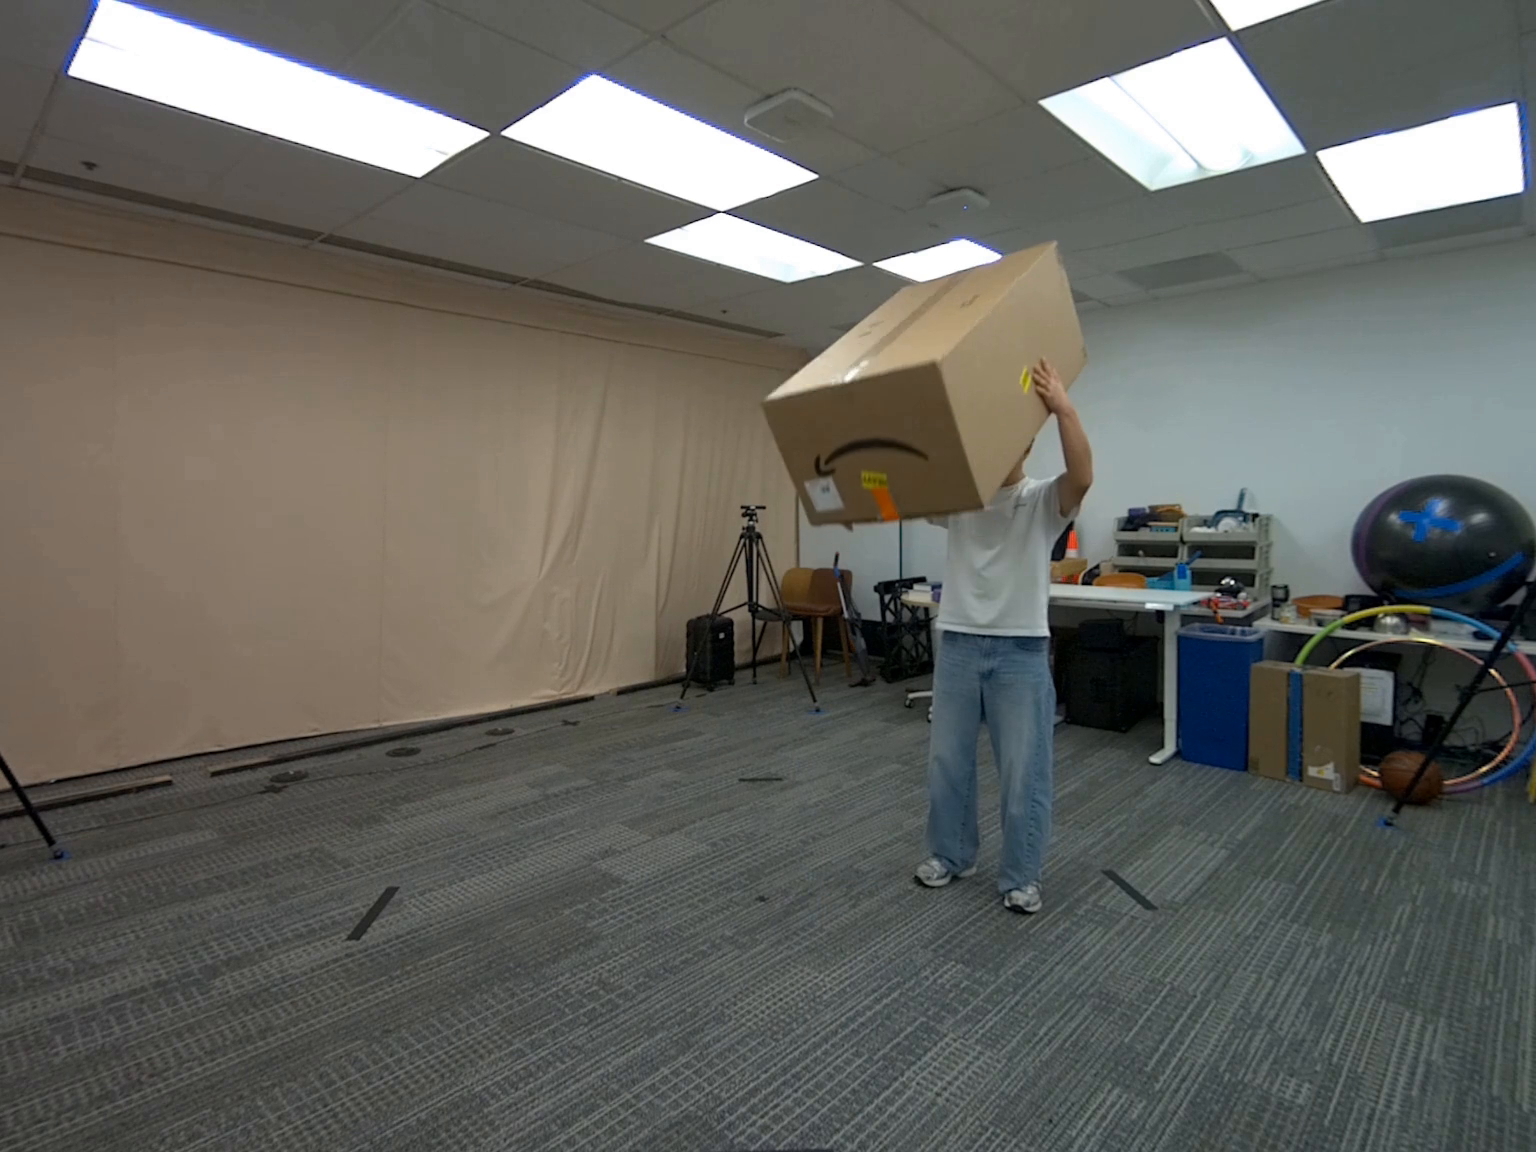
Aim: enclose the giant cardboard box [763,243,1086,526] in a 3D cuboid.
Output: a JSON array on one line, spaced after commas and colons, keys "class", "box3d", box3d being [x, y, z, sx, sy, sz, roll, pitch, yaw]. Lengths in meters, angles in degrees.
[{"class": "giant cardboard box", "box3d": [0.542, -0.589, 2.662, 0.595, 0.417, 1.016, -4, 31, 41]}]
